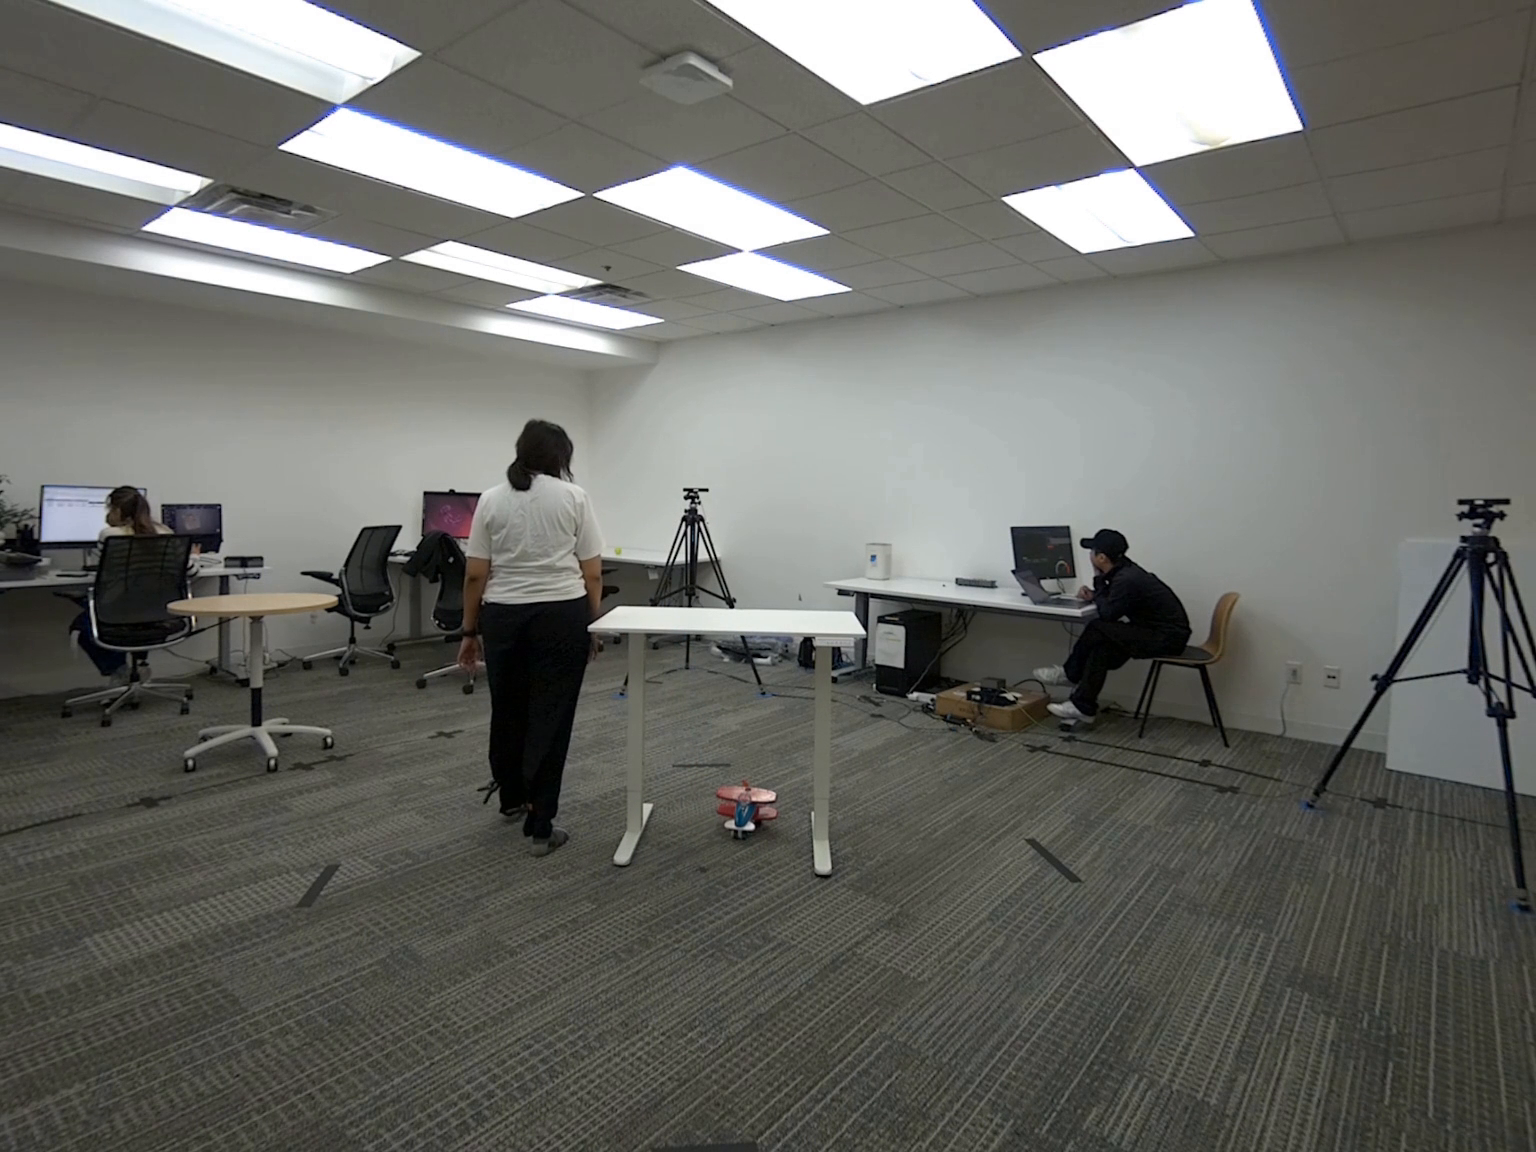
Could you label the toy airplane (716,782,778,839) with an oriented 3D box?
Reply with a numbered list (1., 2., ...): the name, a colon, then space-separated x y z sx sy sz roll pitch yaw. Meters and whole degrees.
1. toy airplane: -0.086 0.968 3.472 0.247 0.156 0.264 0 4 -17
